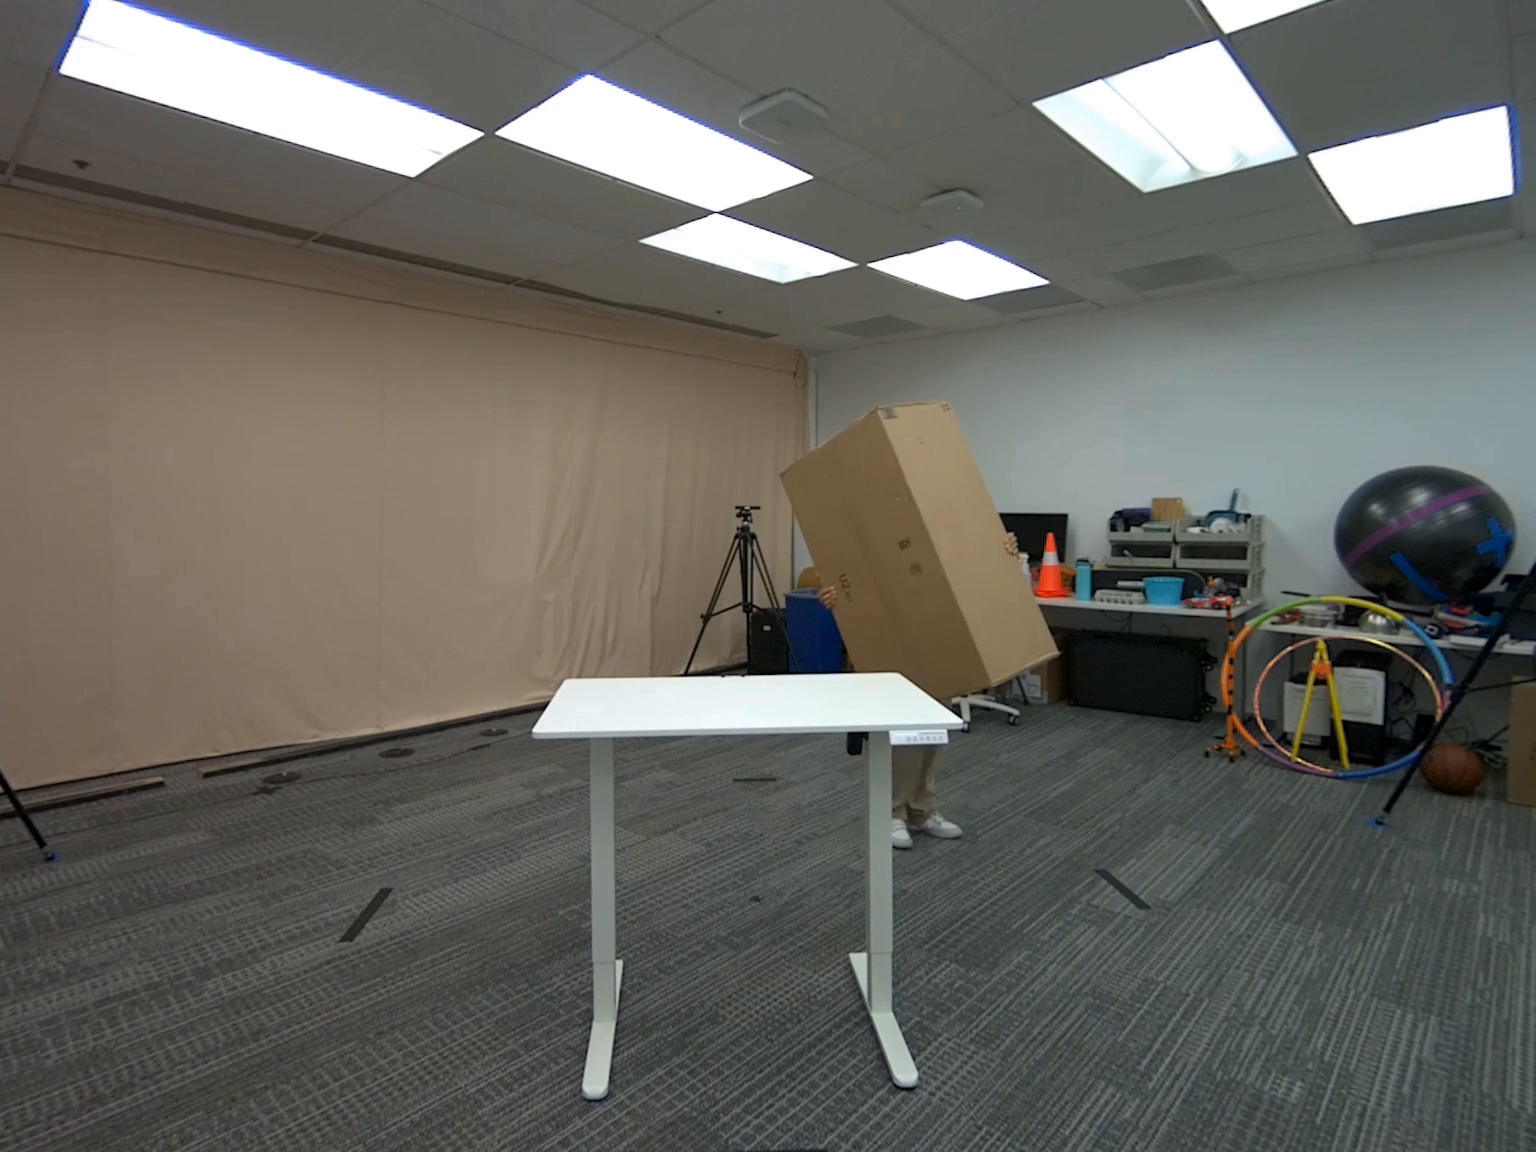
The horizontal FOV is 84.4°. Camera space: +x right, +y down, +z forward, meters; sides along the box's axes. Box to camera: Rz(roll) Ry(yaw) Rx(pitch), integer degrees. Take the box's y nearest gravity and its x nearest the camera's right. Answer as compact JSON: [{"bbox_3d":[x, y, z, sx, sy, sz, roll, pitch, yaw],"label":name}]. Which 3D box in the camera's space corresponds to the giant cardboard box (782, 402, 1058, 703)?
[{"bbox_3d":[0.547,-0.056,3.175,0.415,1.036,0.587,-13,-12,-40],"label":"giant cardboard box"}]
